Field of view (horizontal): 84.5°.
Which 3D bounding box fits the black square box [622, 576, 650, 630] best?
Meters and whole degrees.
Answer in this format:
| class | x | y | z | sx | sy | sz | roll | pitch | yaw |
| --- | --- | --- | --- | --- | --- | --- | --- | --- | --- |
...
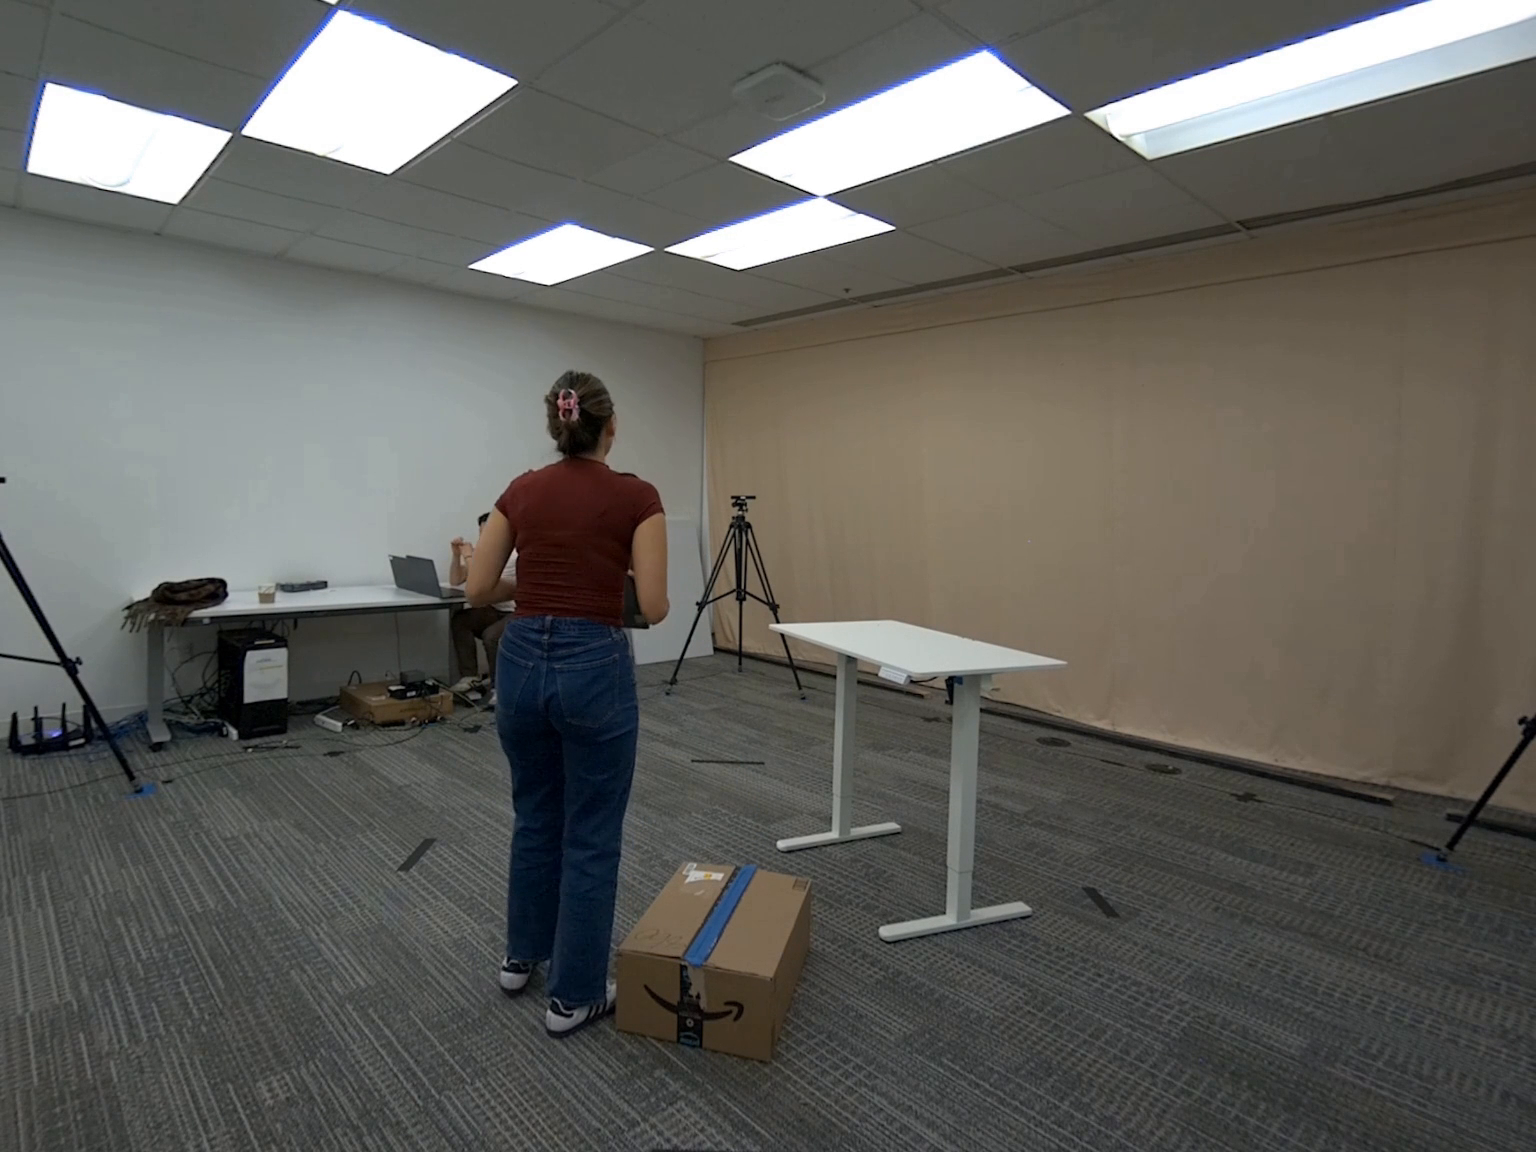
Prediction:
| class | x | y | z | sx | sy | sz | roll | pitch | yaw |
| --- | --- | --- | --- | --- | --- | --- | --- | --- | --- |
| black square box | -0.461 | 0.029 | 2.480 | 0.218 | 0.231 | 0.153 | 5 | -23 | 3 |
